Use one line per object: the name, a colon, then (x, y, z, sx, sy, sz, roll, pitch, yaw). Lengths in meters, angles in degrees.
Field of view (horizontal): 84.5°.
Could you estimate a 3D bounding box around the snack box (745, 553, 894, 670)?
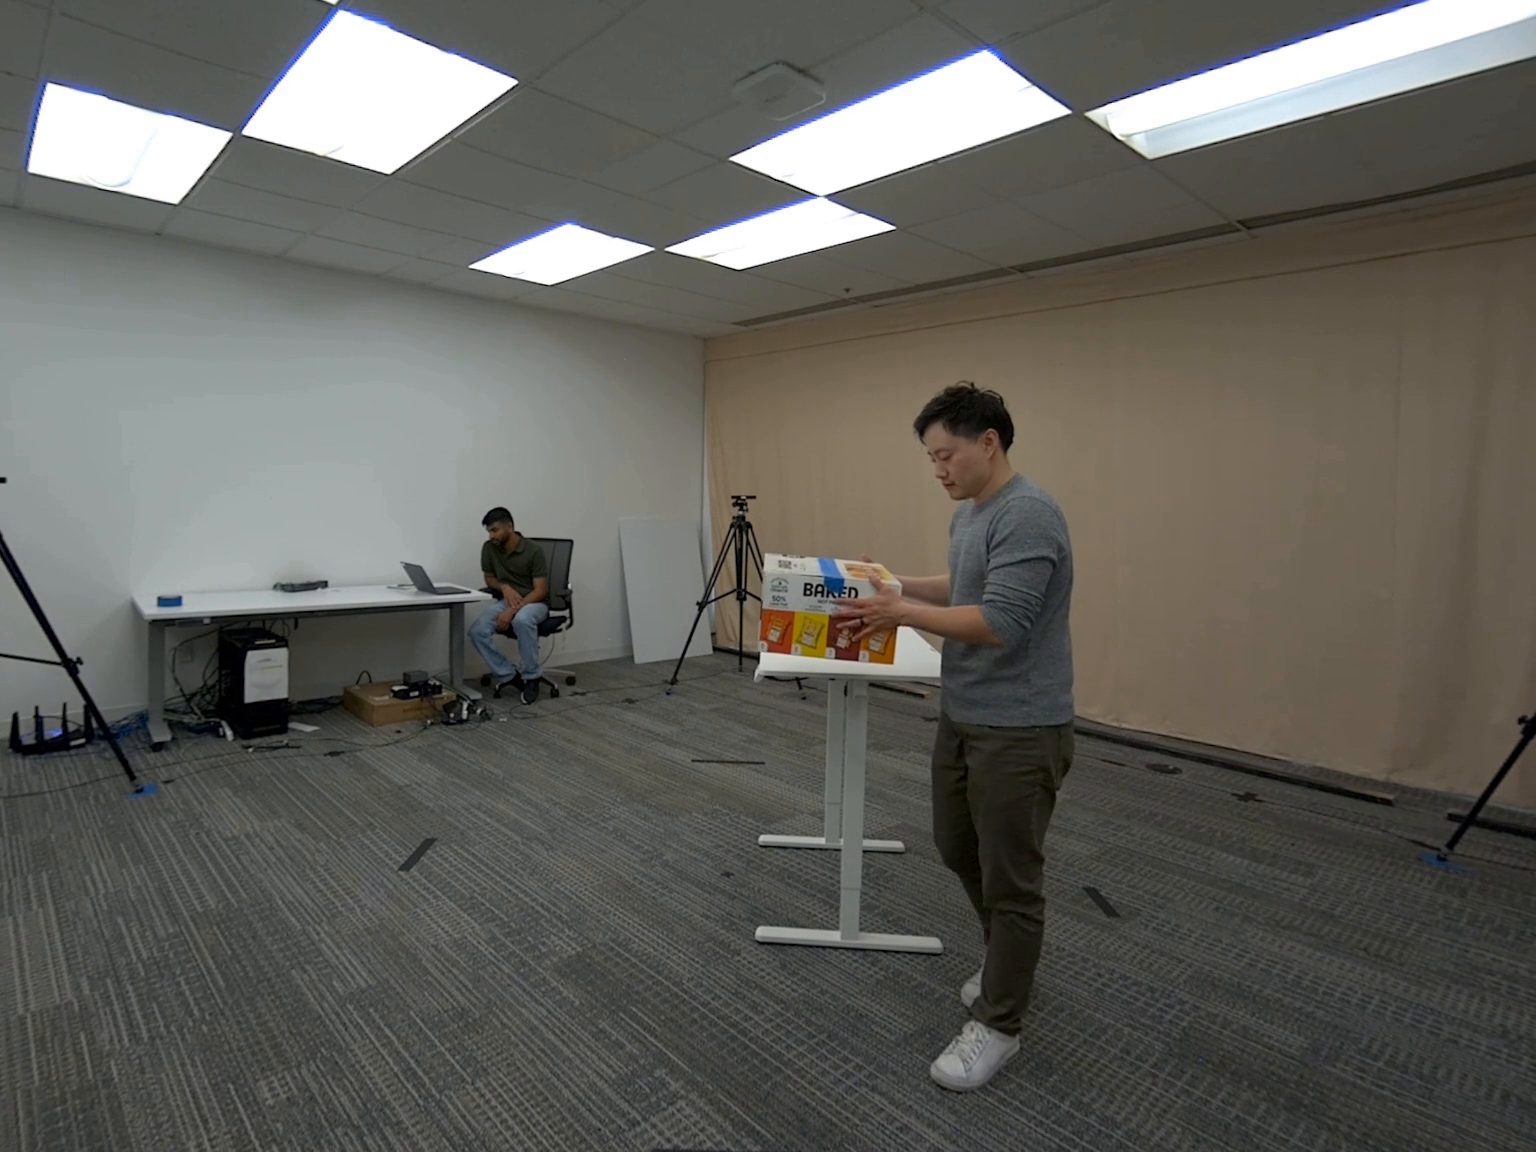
snack box: (0.136, 0.079, 2.258, 0.342, 0.205, 0.405, 6, 7, 5)
